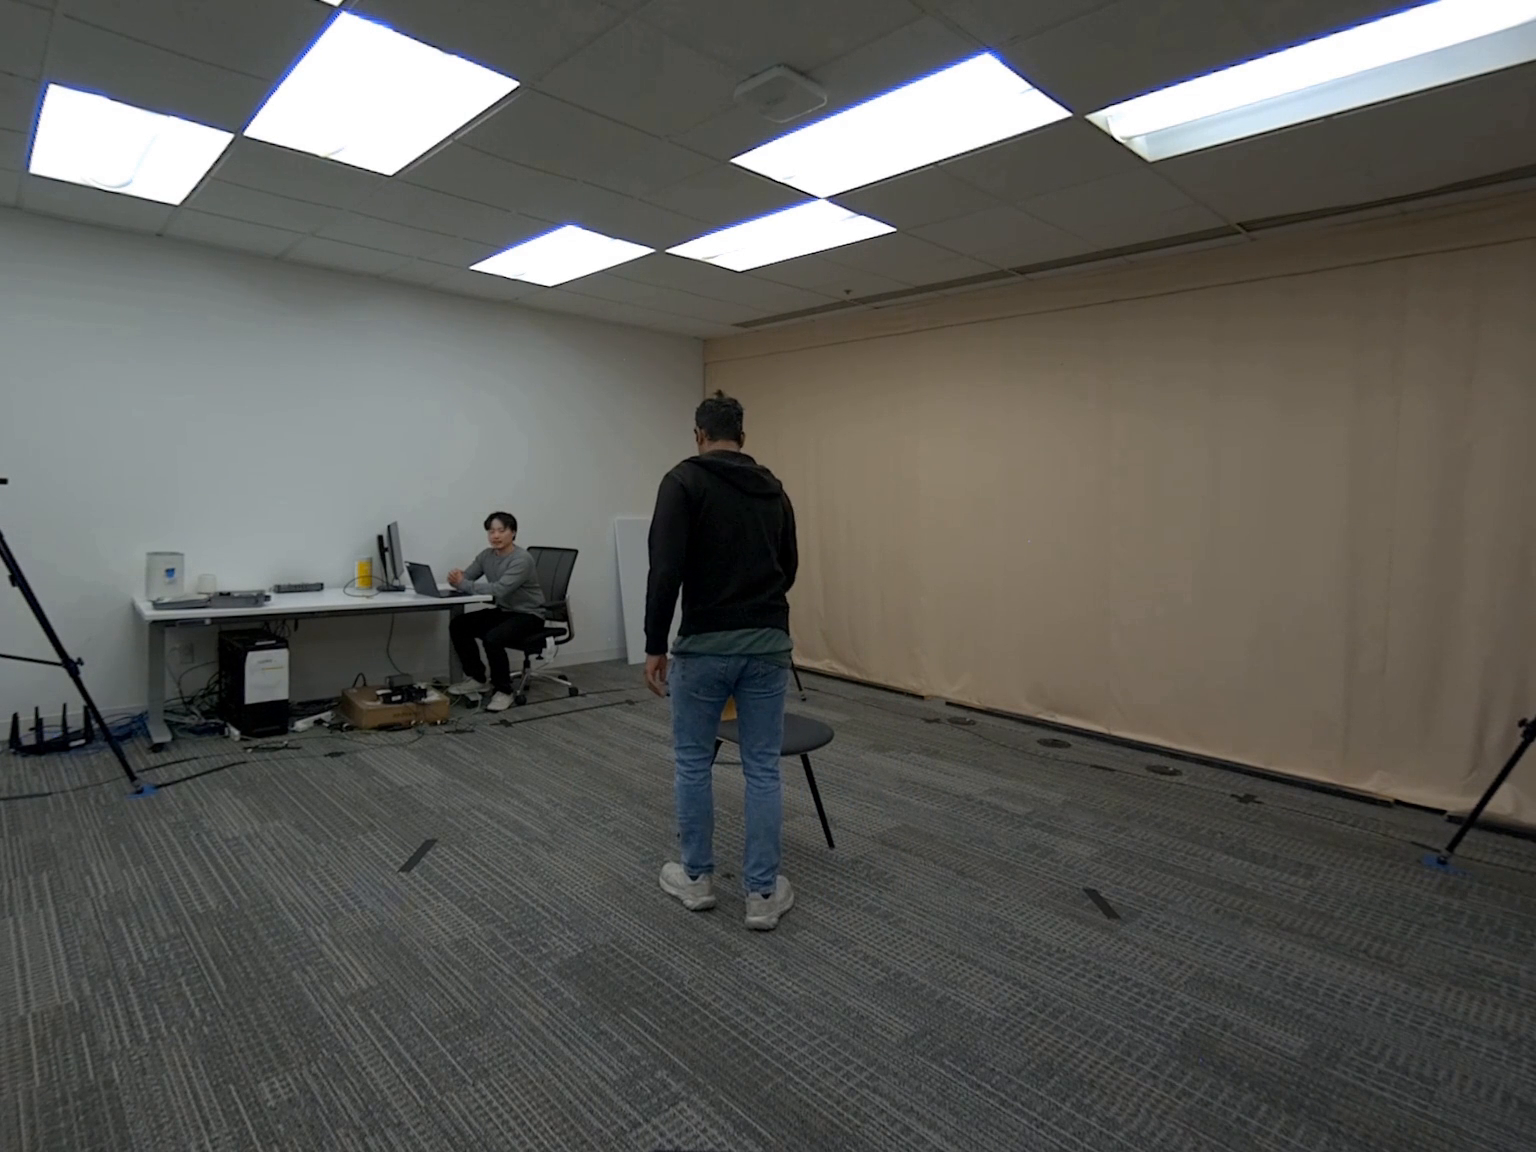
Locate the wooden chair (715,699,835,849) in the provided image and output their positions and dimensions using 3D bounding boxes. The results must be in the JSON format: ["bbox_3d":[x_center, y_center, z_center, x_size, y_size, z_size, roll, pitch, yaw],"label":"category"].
[{"bbox_3d":[-0.042,0.661,3.381,0.467,0.878,0.535,-1,0,-40],"label":"wooden chair"}]
